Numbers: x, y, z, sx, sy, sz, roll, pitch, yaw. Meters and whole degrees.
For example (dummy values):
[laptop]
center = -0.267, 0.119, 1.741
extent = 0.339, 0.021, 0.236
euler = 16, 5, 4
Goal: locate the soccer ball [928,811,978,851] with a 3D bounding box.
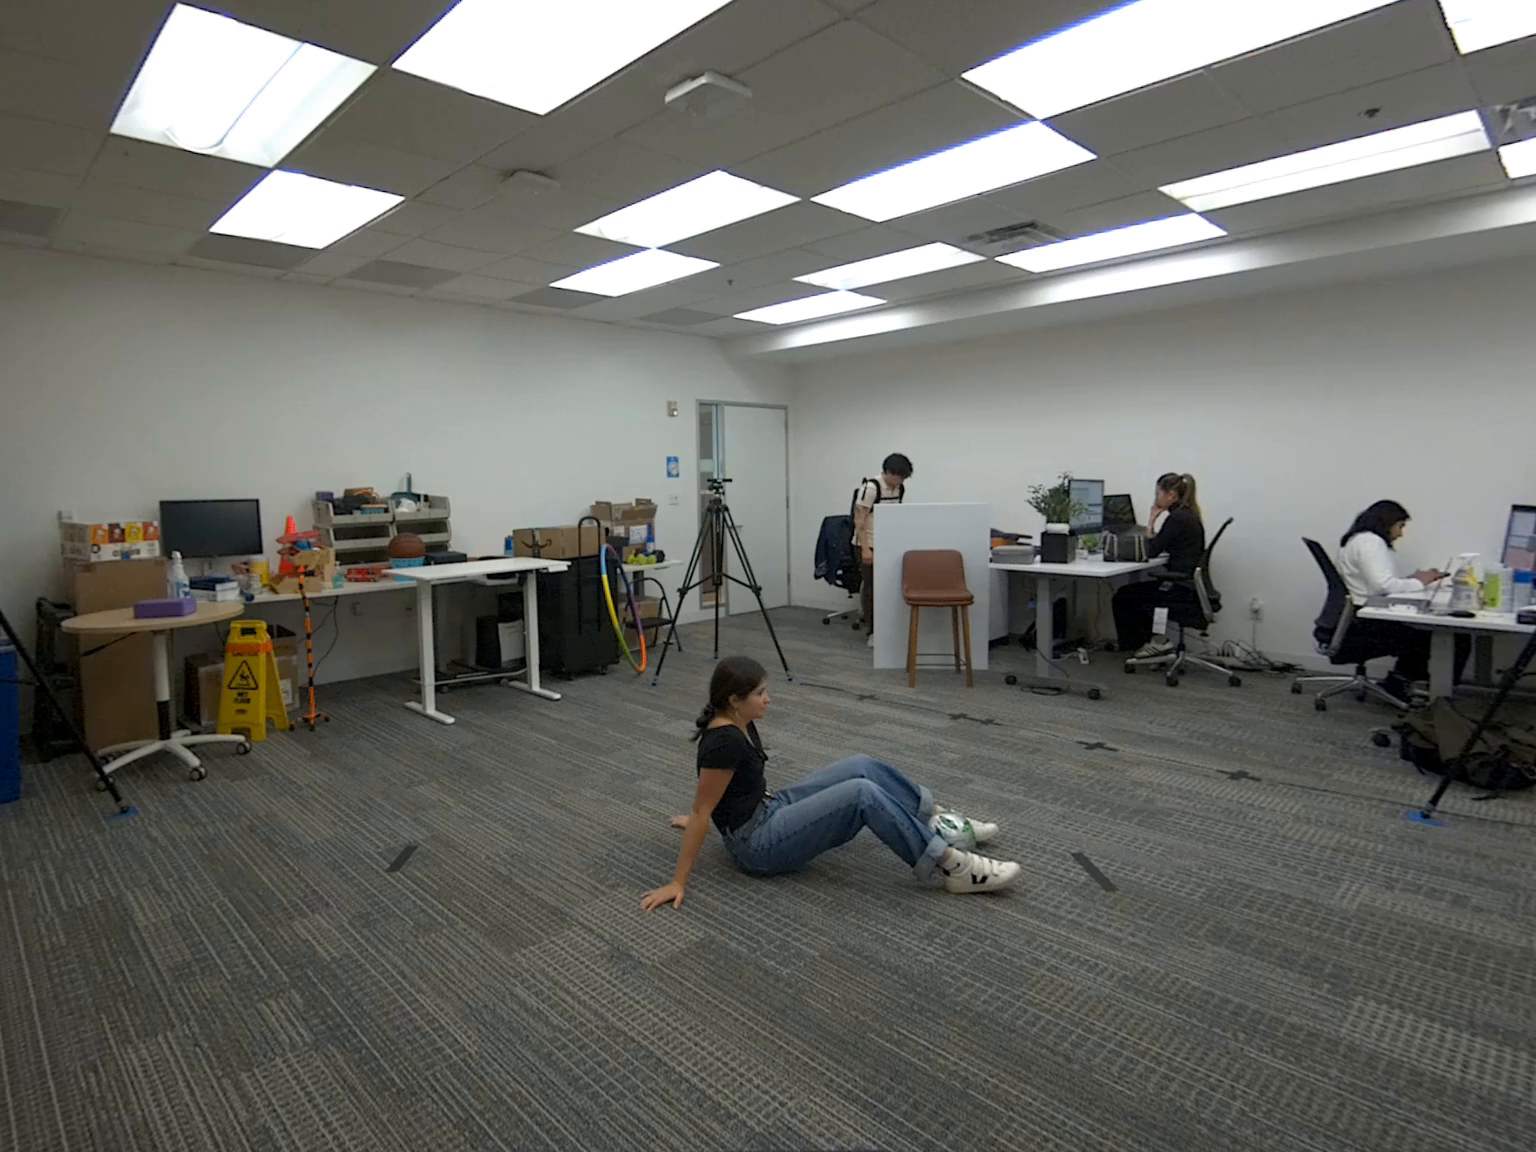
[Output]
[soccer ball]
center = 0.642, 0.937, 3.076
extent = 0.187, 0.187, 0.188
euler = 0, 1, -2
